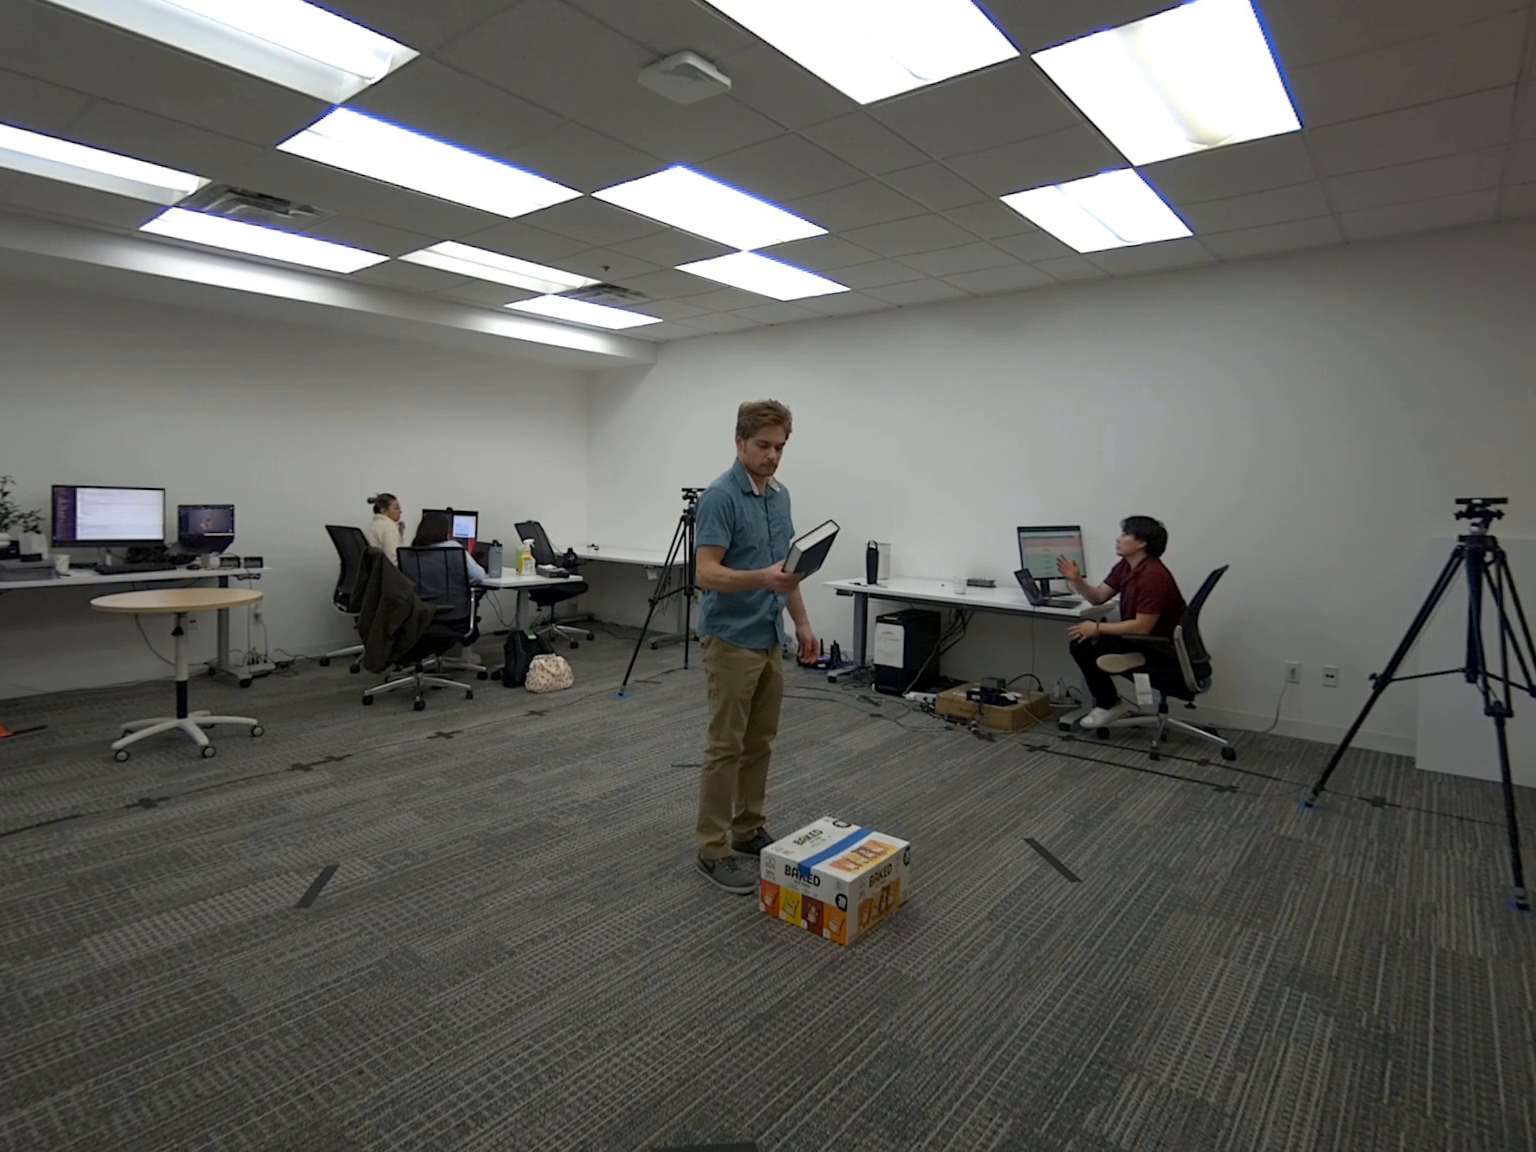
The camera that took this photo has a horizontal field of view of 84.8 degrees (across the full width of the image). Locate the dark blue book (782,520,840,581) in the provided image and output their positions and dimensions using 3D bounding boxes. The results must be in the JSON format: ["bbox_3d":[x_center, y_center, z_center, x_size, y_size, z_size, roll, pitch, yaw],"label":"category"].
[{"bbox_3d":[0.113,-0.065,2.687,0.162,0.046,0.241,-32,-18,-25],"label":"dark blue book"}]
